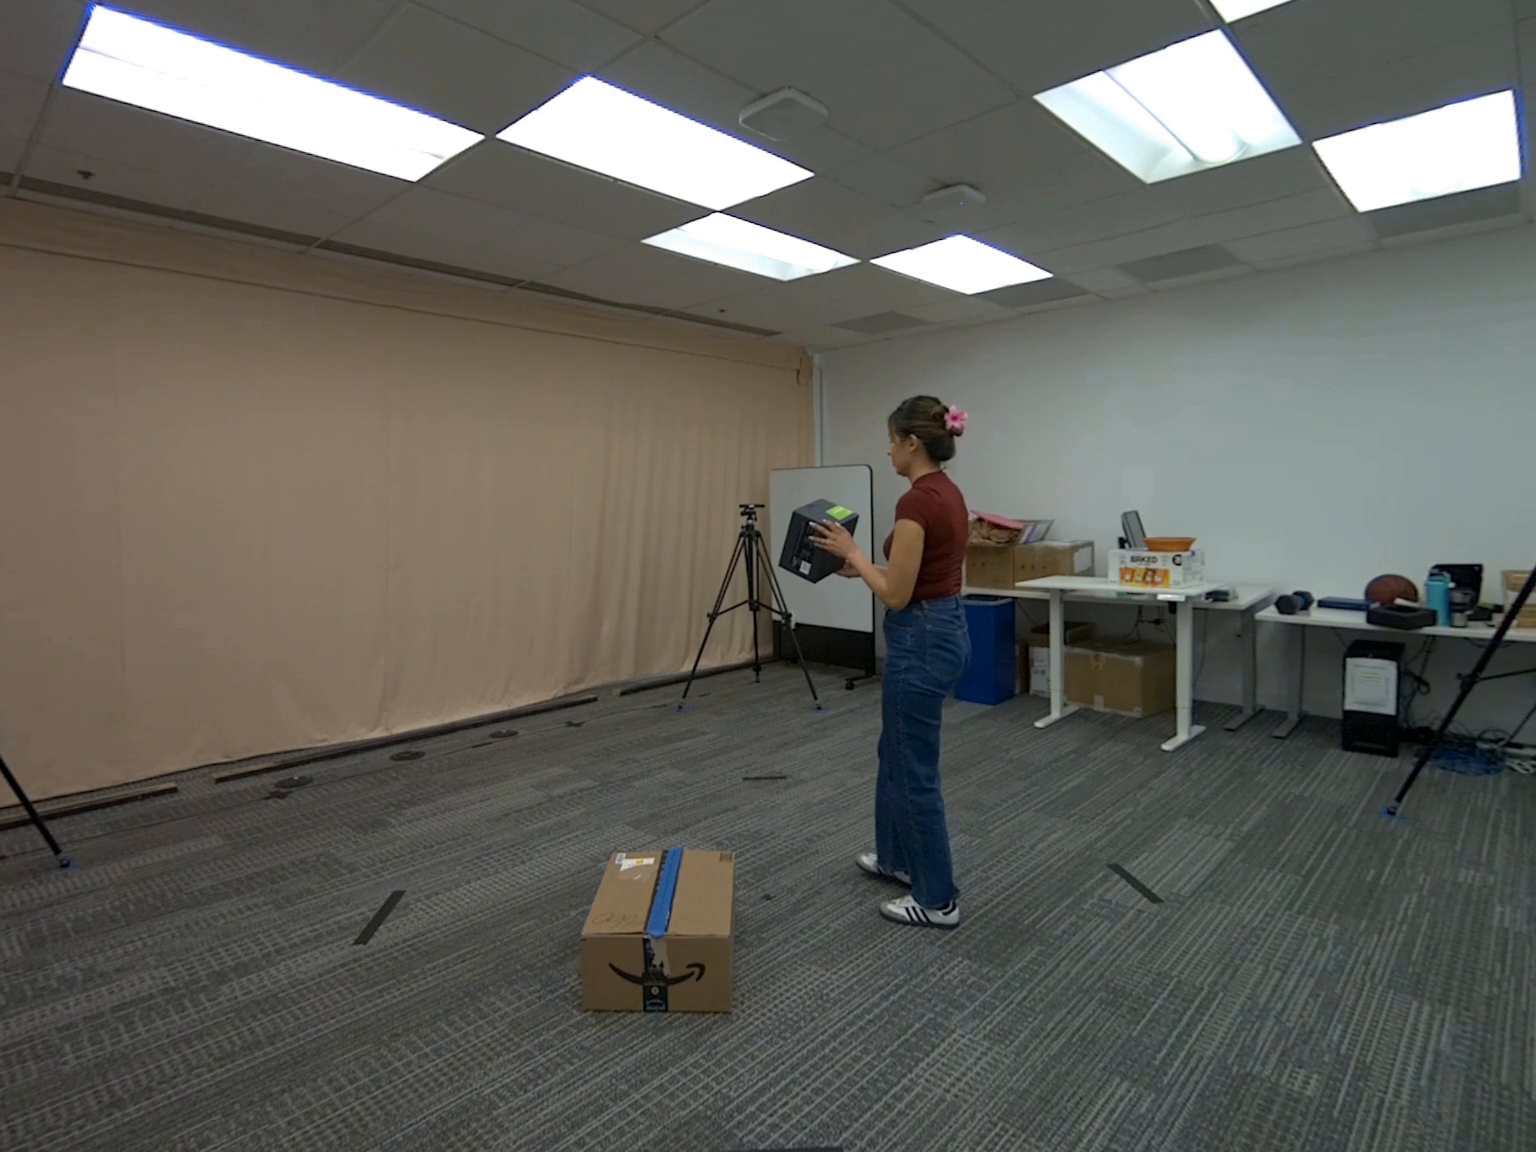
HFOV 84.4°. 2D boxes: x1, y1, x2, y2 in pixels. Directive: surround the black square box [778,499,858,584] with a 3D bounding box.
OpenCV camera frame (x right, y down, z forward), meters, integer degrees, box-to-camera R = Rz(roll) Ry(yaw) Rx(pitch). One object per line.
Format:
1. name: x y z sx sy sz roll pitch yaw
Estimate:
1. black square box: 0.183 -0.126 2.969 0.160 0.215 0.223 26 27 24
